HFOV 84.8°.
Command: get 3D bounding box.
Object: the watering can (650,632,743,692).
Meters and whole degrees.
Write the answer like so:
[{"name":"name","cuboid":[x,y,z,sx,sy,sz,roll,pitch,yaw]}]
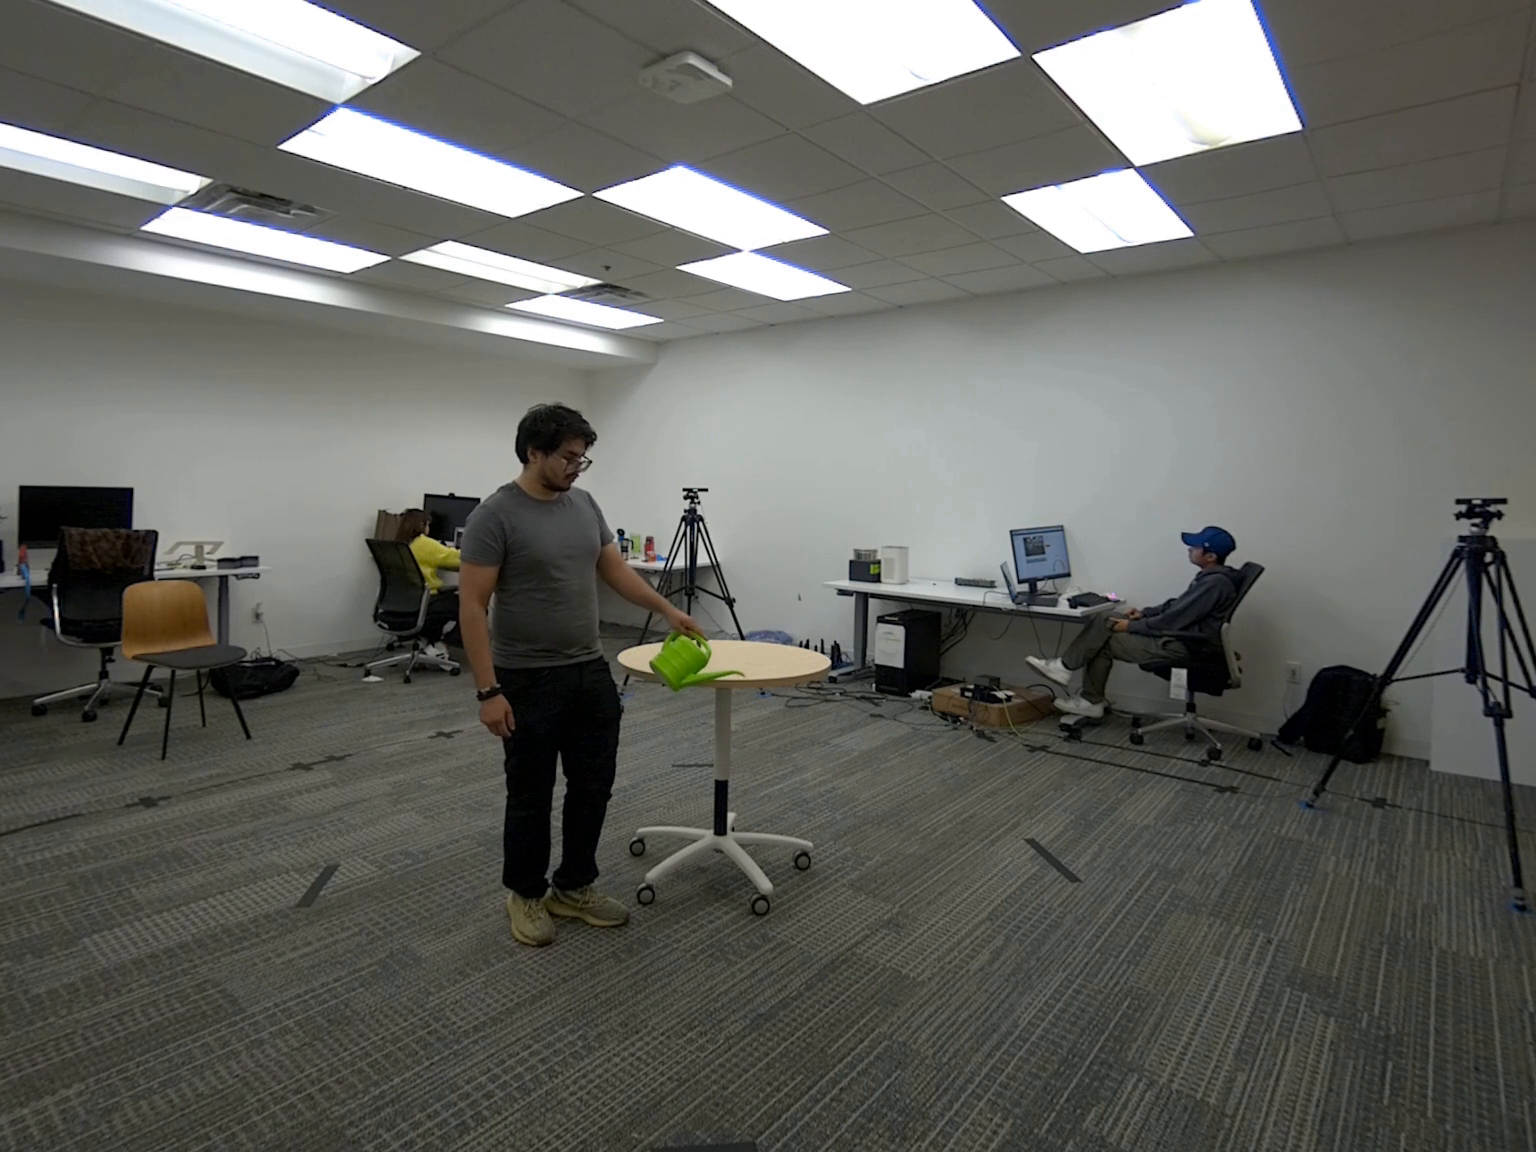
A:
[{"name":"watering can","cuboid":[-0.233,0.264,2.541,0.176,0.094,0.290,-42,44,-19]}]
